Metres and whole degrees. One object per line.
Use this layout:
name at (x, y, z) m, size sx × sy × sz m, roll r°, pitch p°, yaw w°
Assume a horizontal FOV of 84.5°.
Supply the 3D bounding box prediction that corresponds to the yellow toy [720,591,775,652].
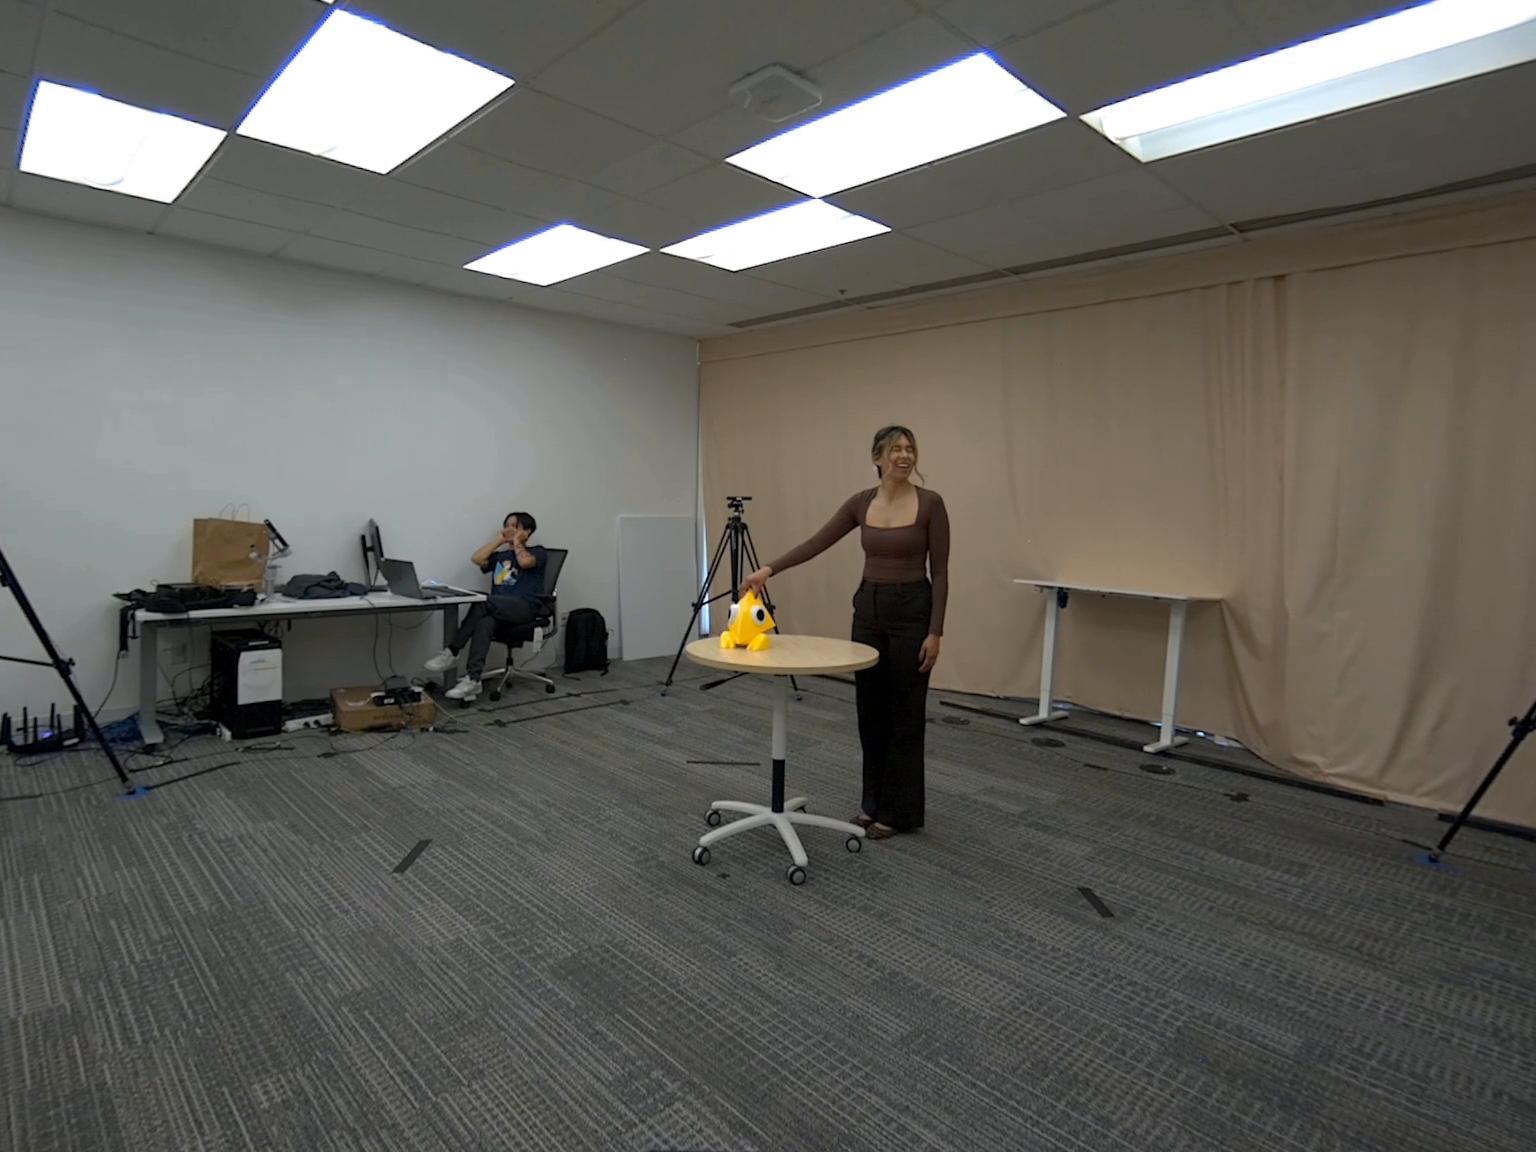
yellow toy at (-0.099, 0.170, 3.403) m, size 0.207 × 0.230 × 0.191 m, roll 0°, pitch 2°, yaw 15°
